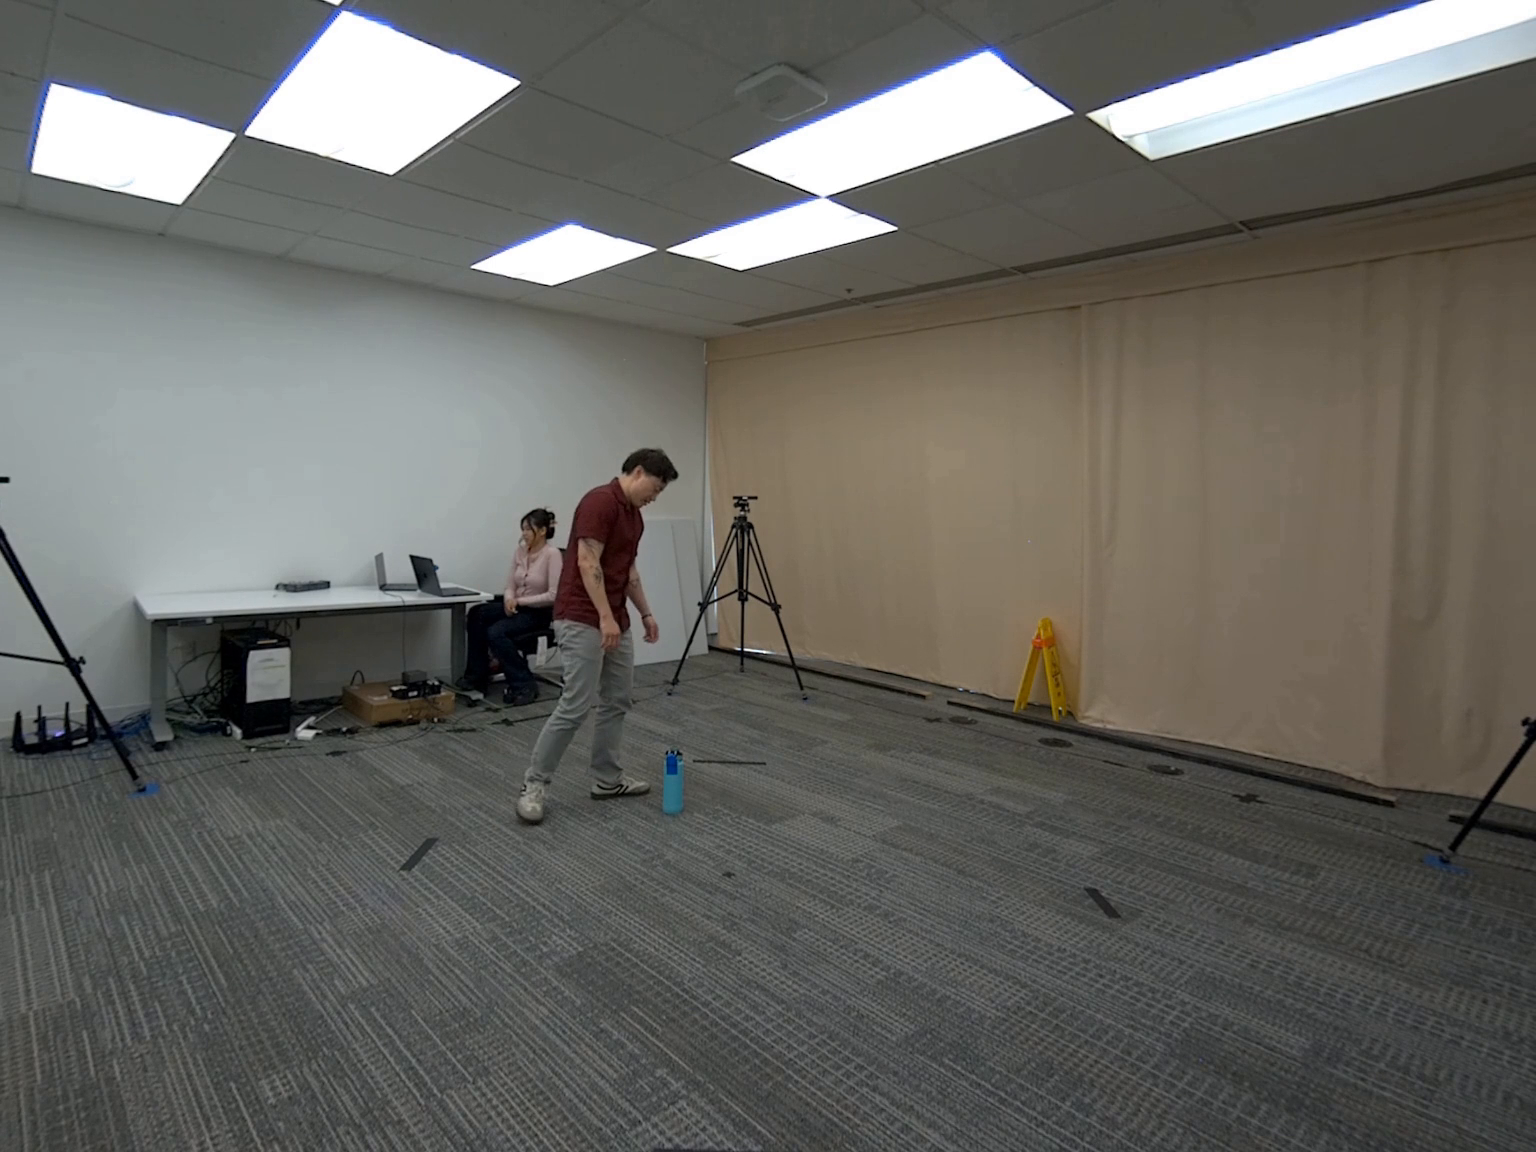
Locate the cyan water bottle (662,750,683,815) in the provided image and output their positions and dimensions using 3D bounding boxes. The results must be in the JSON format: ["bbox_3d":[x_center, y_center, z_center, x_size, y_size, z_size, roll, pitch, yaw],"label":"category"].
[{"bbox_3d":[-0.435,0.903,3.726,0.092,0.282,0.093,2,4,-2],"label":"cyan water bottle"}]
